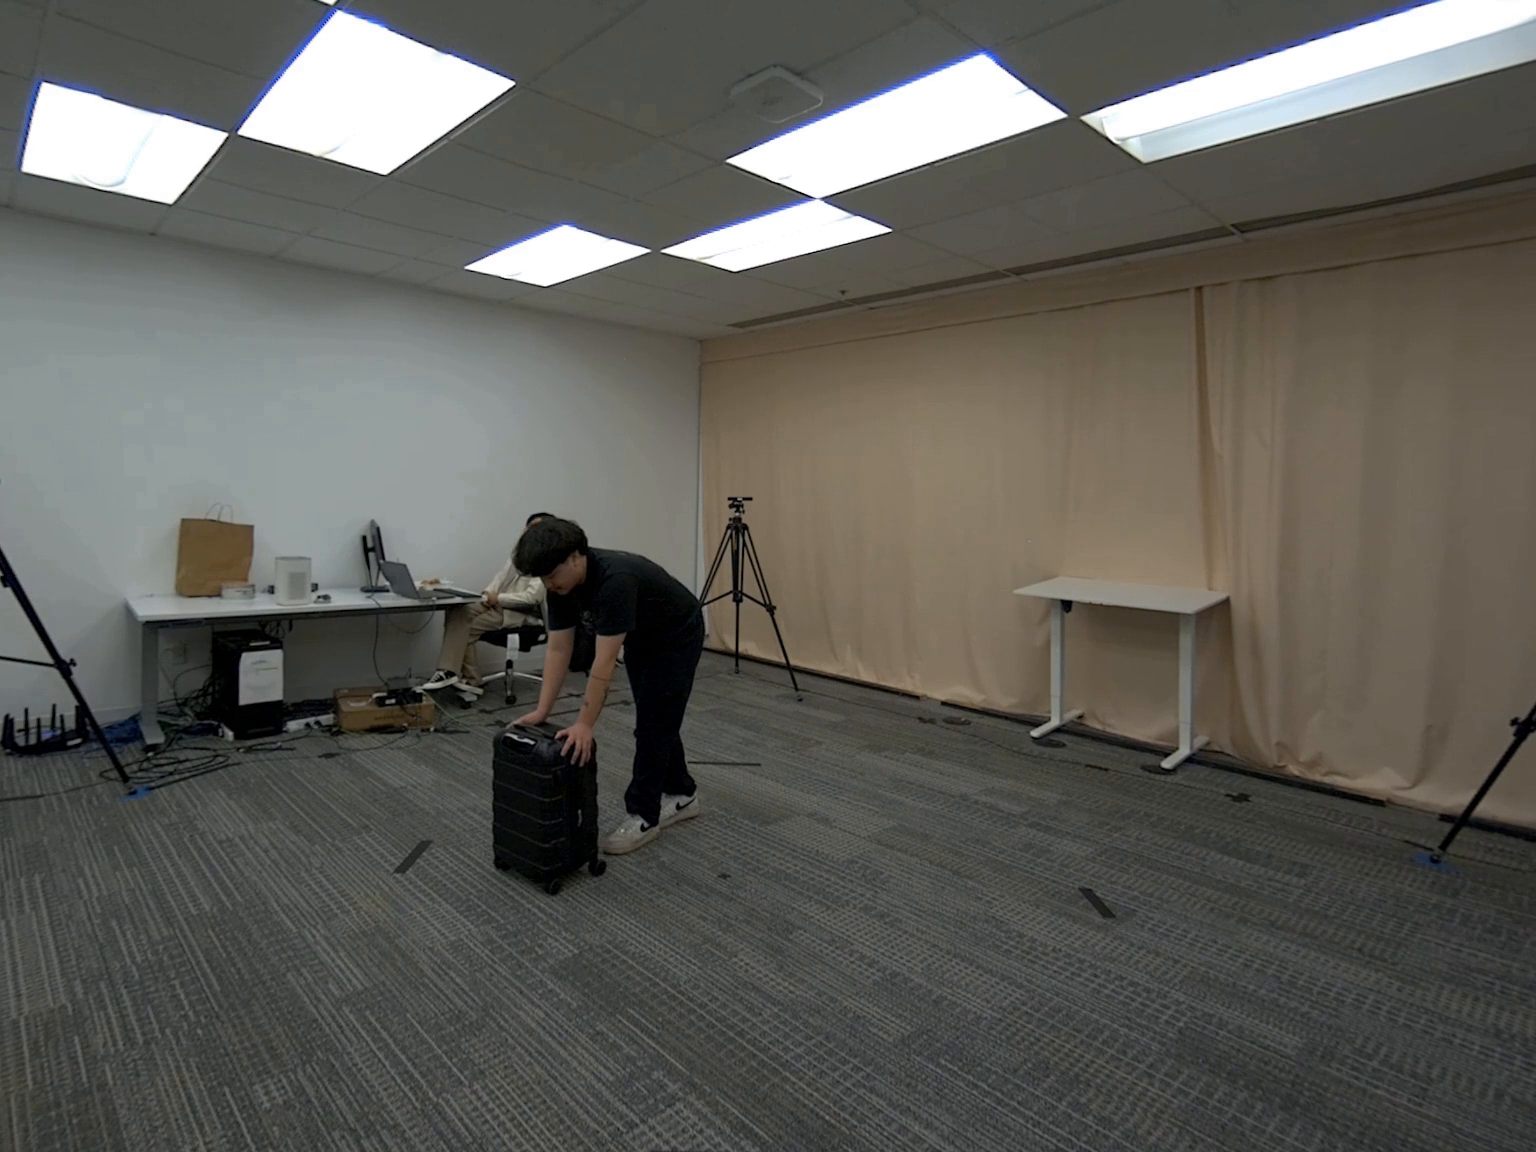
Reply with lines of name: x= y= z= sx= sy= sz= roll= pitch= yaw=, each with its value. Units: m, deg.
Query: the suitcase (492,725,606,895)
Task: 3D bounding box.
suitcase: x=-0.829 y=0.824 z=3.077 sx=0.385 sy=0.547 sz=0.243 roll=5 pitch=7 yaw=39
